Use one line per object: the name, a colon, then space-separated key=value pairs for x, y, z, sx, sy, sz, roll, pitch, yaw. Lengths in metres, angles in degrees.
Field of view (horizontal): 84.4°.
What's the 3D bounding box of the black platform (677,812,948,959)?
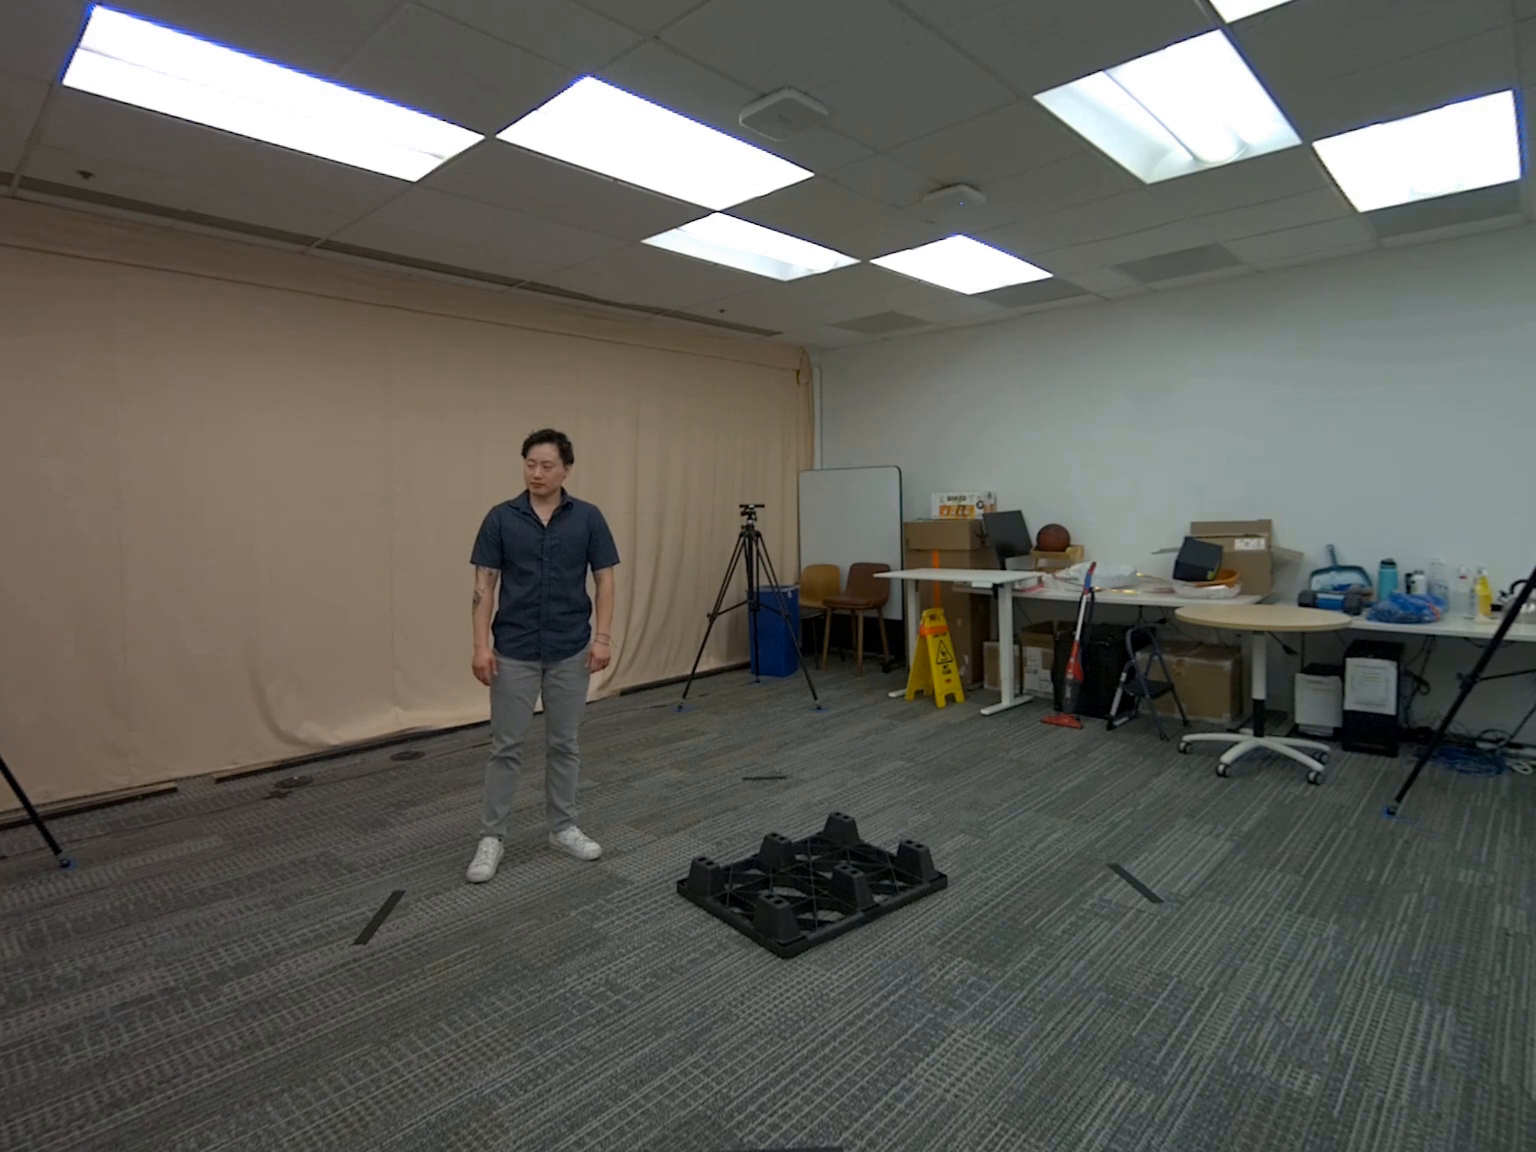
black platform: x=0.163 y=1.065 z=3.030 sx=0.782 sy=0.143 sz=0.625 roll=-6 pitch=6 yaw=-39
